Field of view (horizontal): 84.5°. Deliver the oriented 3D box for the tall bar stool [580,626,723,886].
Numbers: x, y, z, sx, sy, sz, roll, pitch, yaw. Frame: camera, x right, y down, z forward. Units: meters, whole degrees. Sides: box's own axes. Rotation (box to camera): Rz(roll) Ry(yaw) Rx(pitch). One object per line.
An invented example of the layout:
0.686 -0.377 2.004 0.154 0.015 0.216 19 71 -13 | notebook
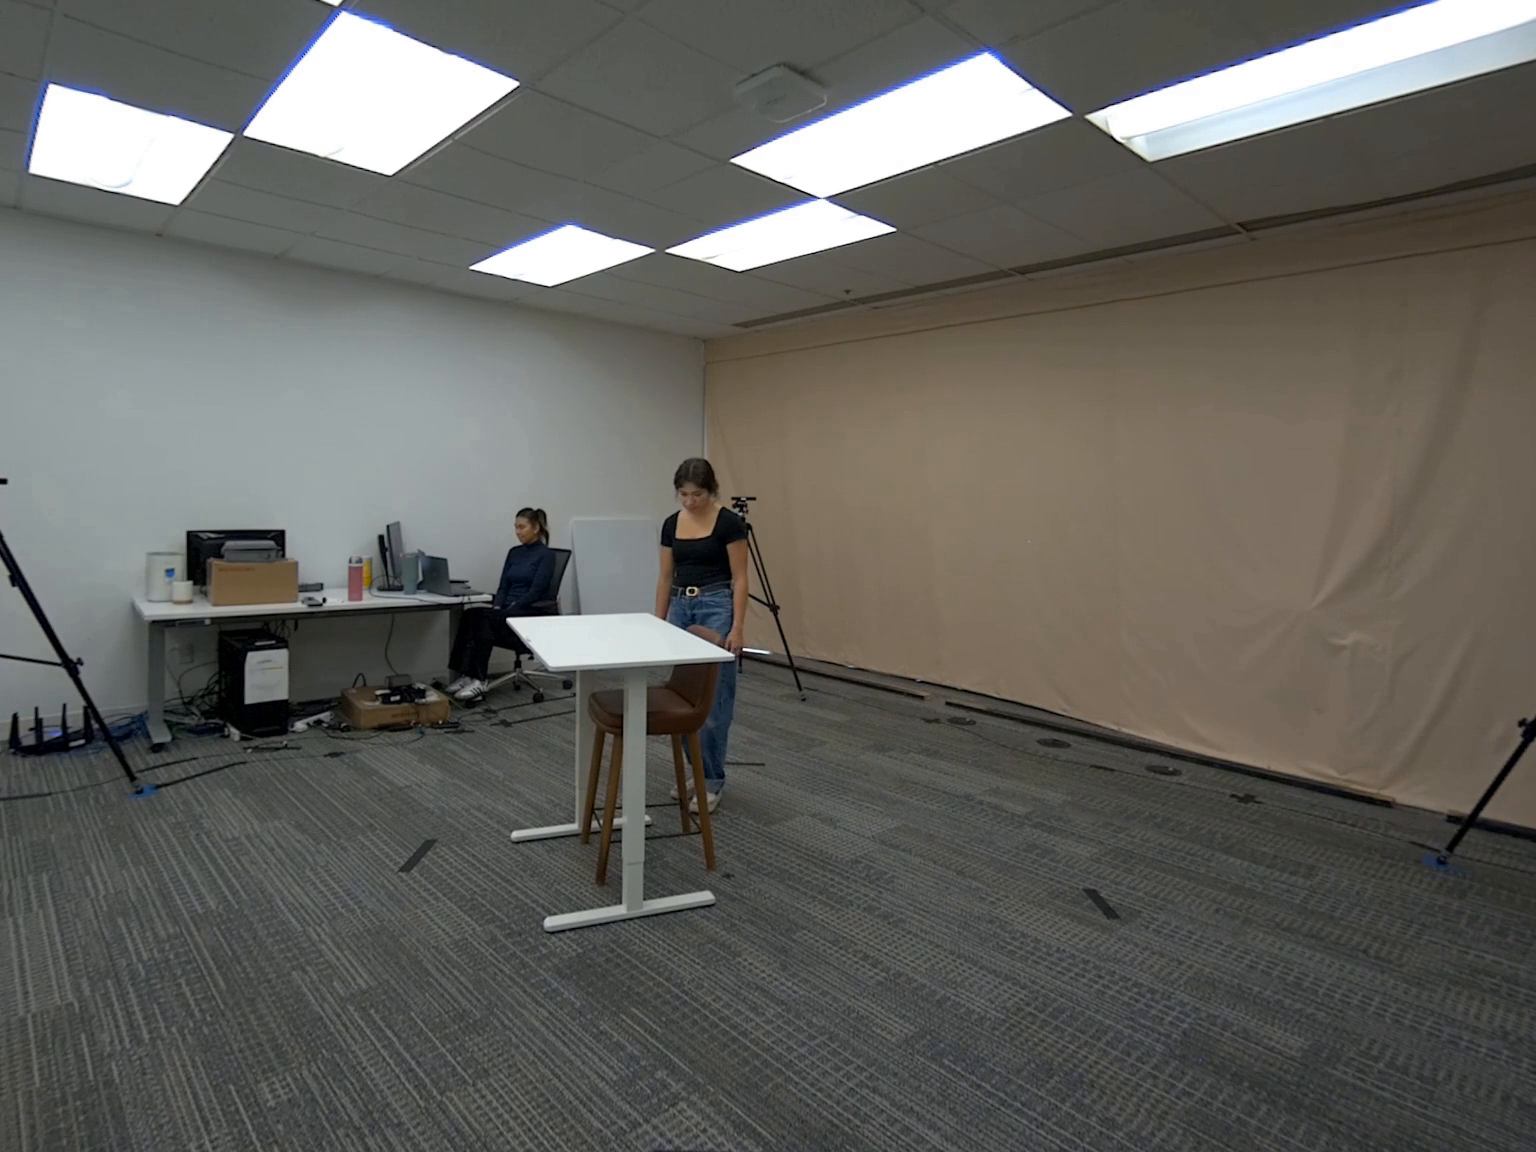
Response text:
-0.465 0.661 3.241 0.460 0.888 0.464 3 2 -20 | tall bar stool
